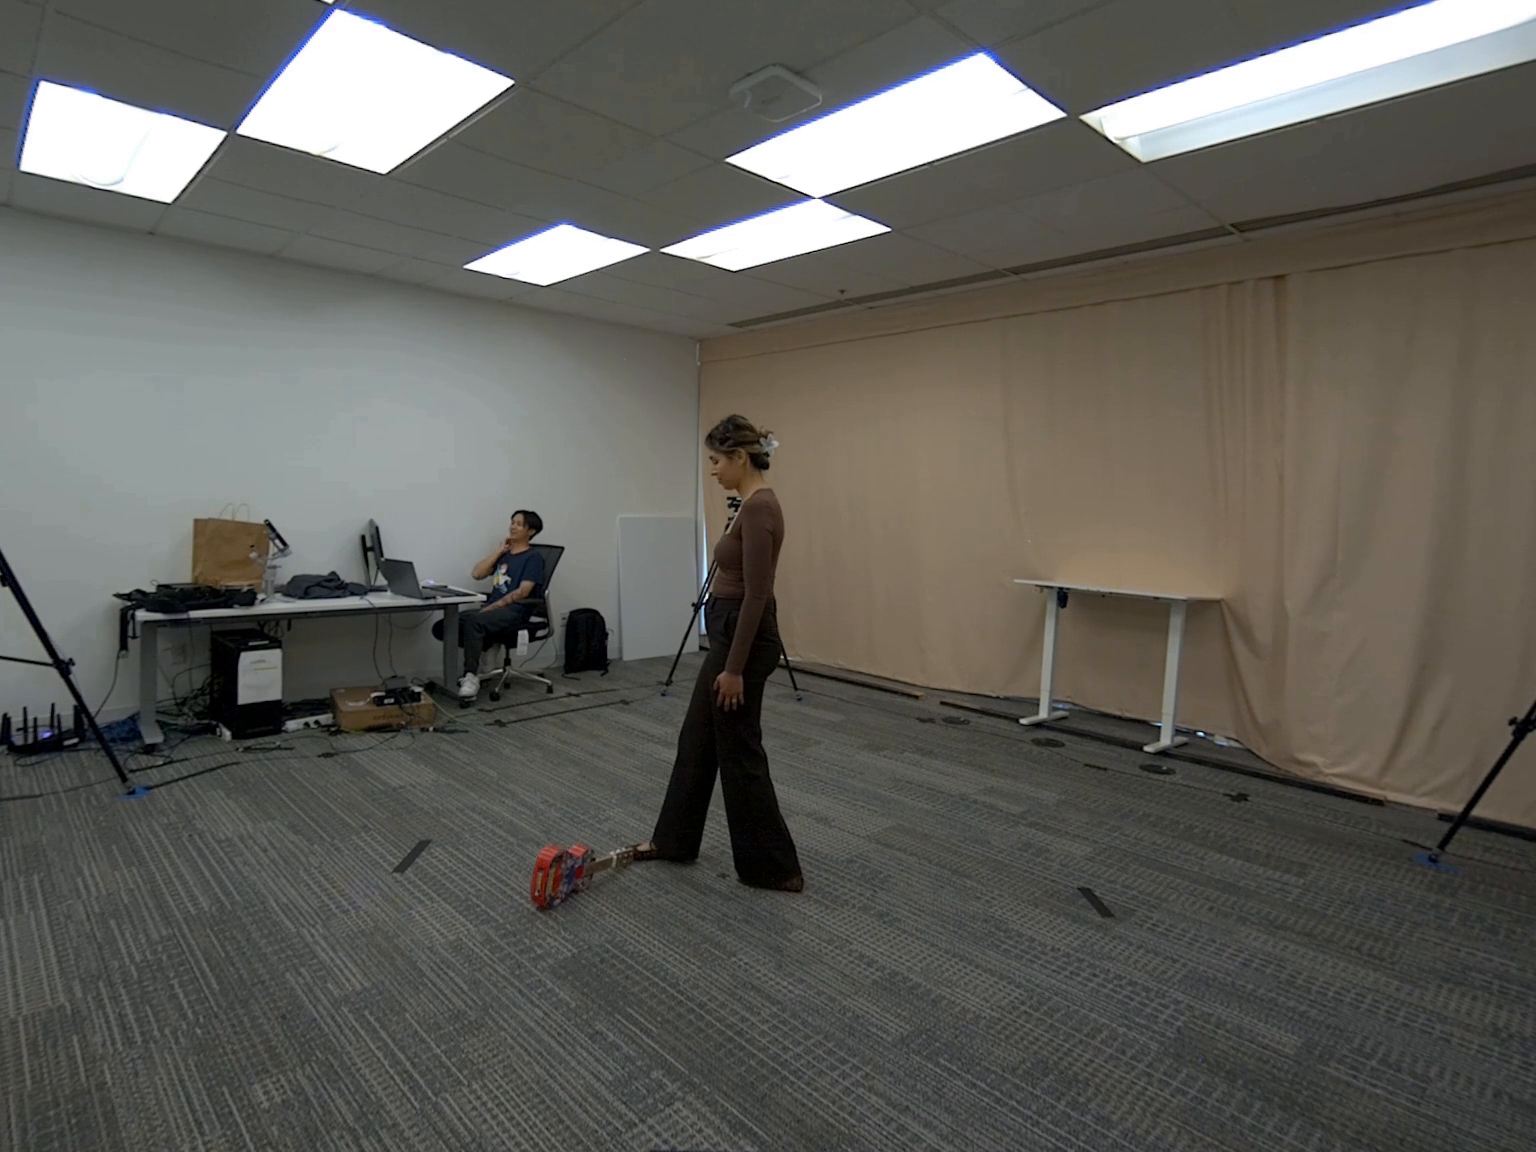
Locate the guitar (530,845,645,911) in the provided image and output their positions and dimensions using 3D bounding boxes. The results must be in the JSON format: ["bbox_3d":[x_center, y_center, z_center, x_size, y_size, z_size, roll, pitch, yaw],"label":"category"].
[{"bbox_3d":[-0.656,1.064,3.001,0.072,0.194,0.484,6,-12,28],"label":"guitar"}]
